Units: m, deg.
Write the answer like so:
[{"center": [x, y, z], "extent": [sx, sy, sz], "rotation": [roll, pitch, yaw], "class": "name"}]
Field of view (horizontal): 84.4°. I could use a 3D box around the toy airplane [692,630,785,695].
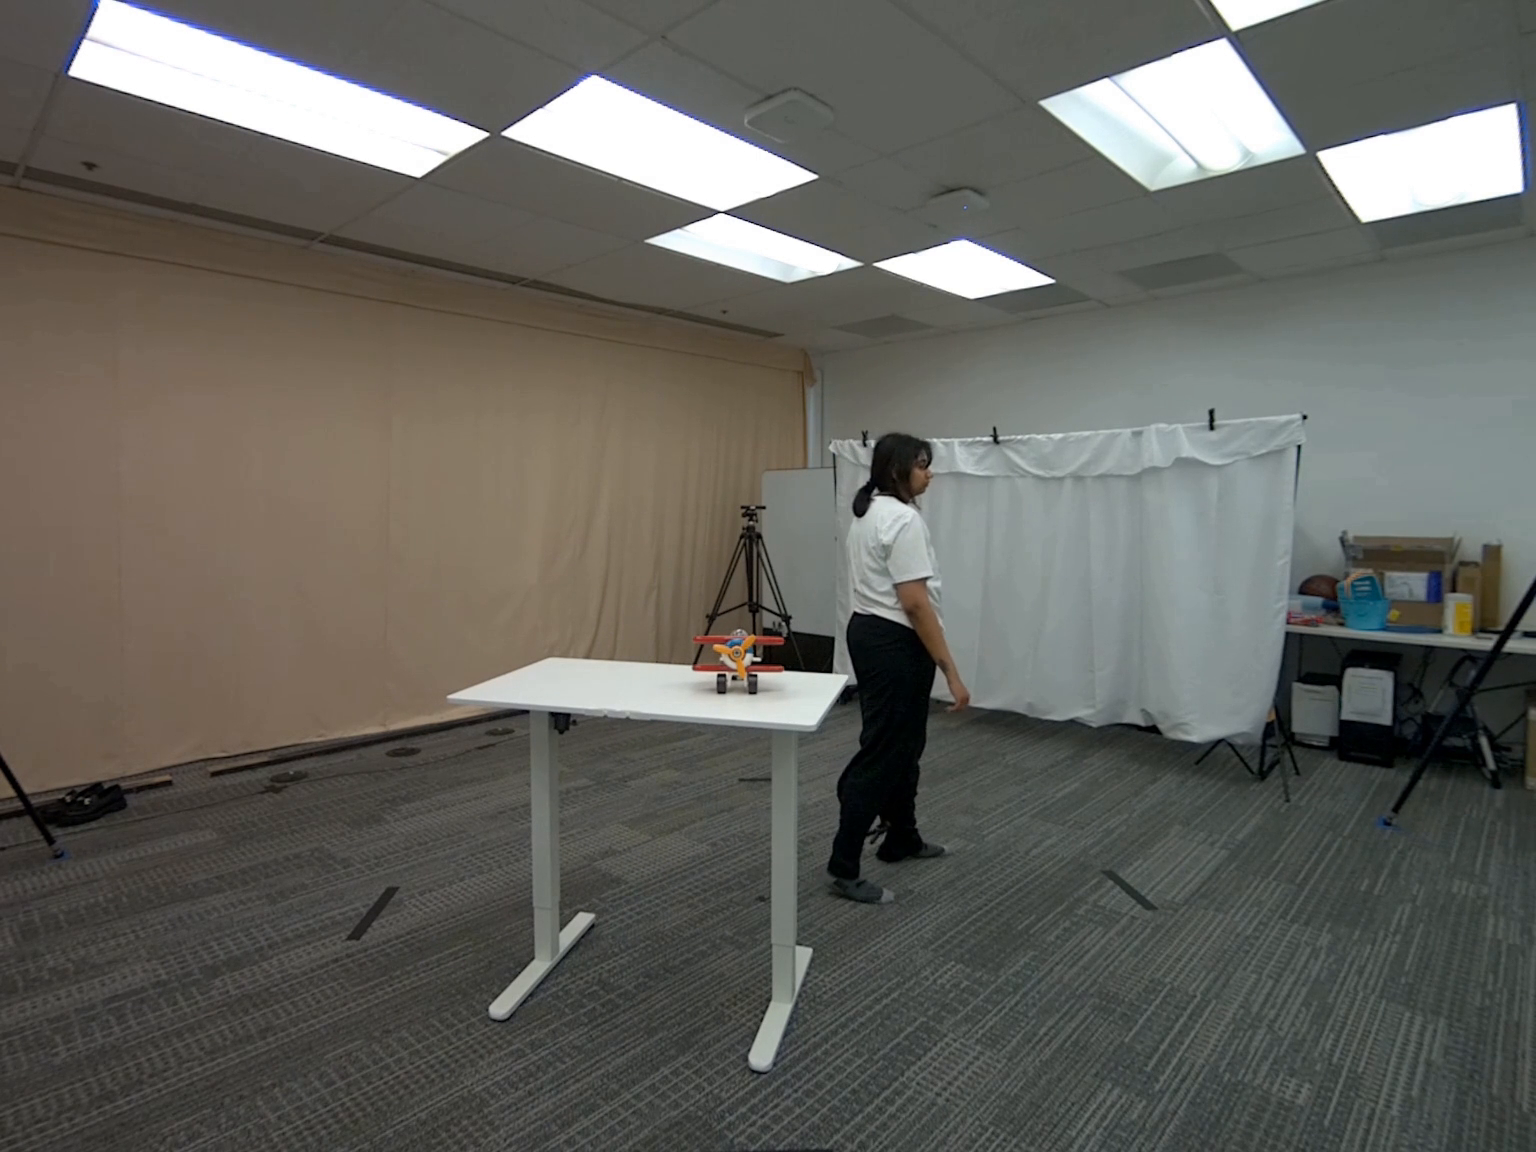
[{"center": [-0.100, 0.236, 2.391], "extent": [0.245, 0.156, 0.266], "rotation": [-3, 8, -23], "class": "toy airplane"}]
